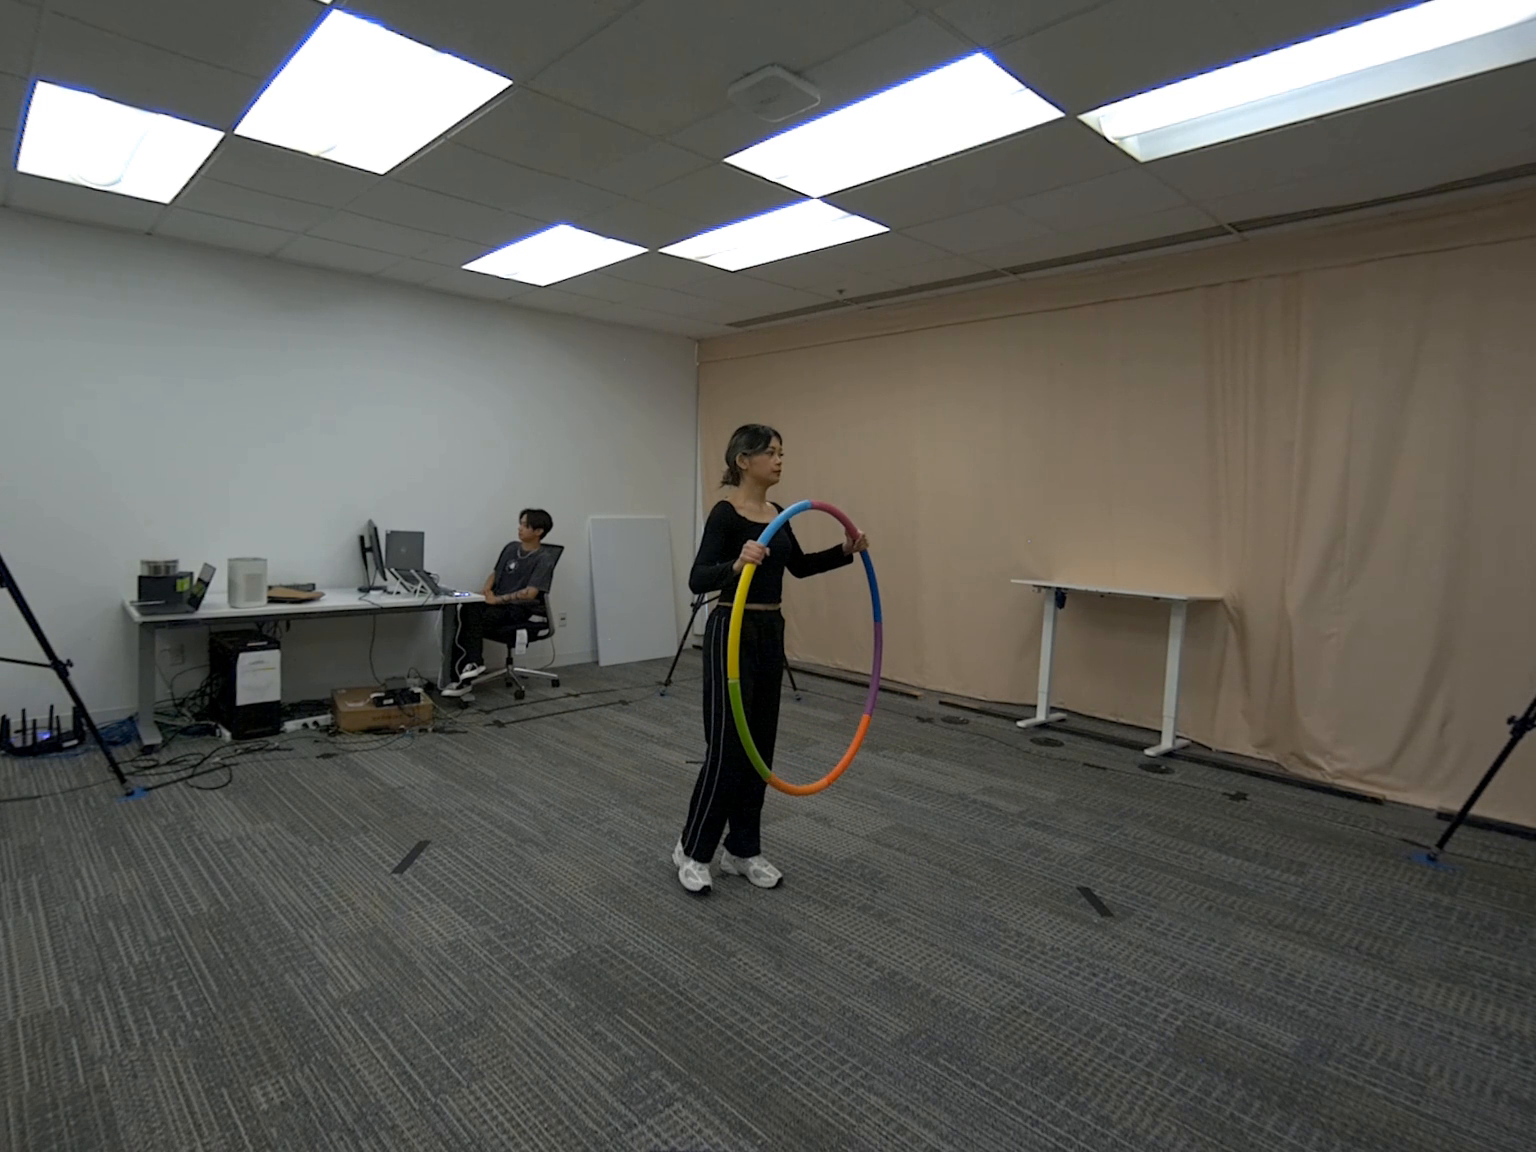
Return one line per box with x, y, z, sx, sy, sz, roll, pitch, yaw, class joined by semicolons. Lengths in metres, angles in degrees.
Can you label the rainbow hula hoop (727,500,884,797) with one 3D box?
0.151;0.237;2.879;0.036;0.977;0.957;0;3;37;rainbow hula hoop
